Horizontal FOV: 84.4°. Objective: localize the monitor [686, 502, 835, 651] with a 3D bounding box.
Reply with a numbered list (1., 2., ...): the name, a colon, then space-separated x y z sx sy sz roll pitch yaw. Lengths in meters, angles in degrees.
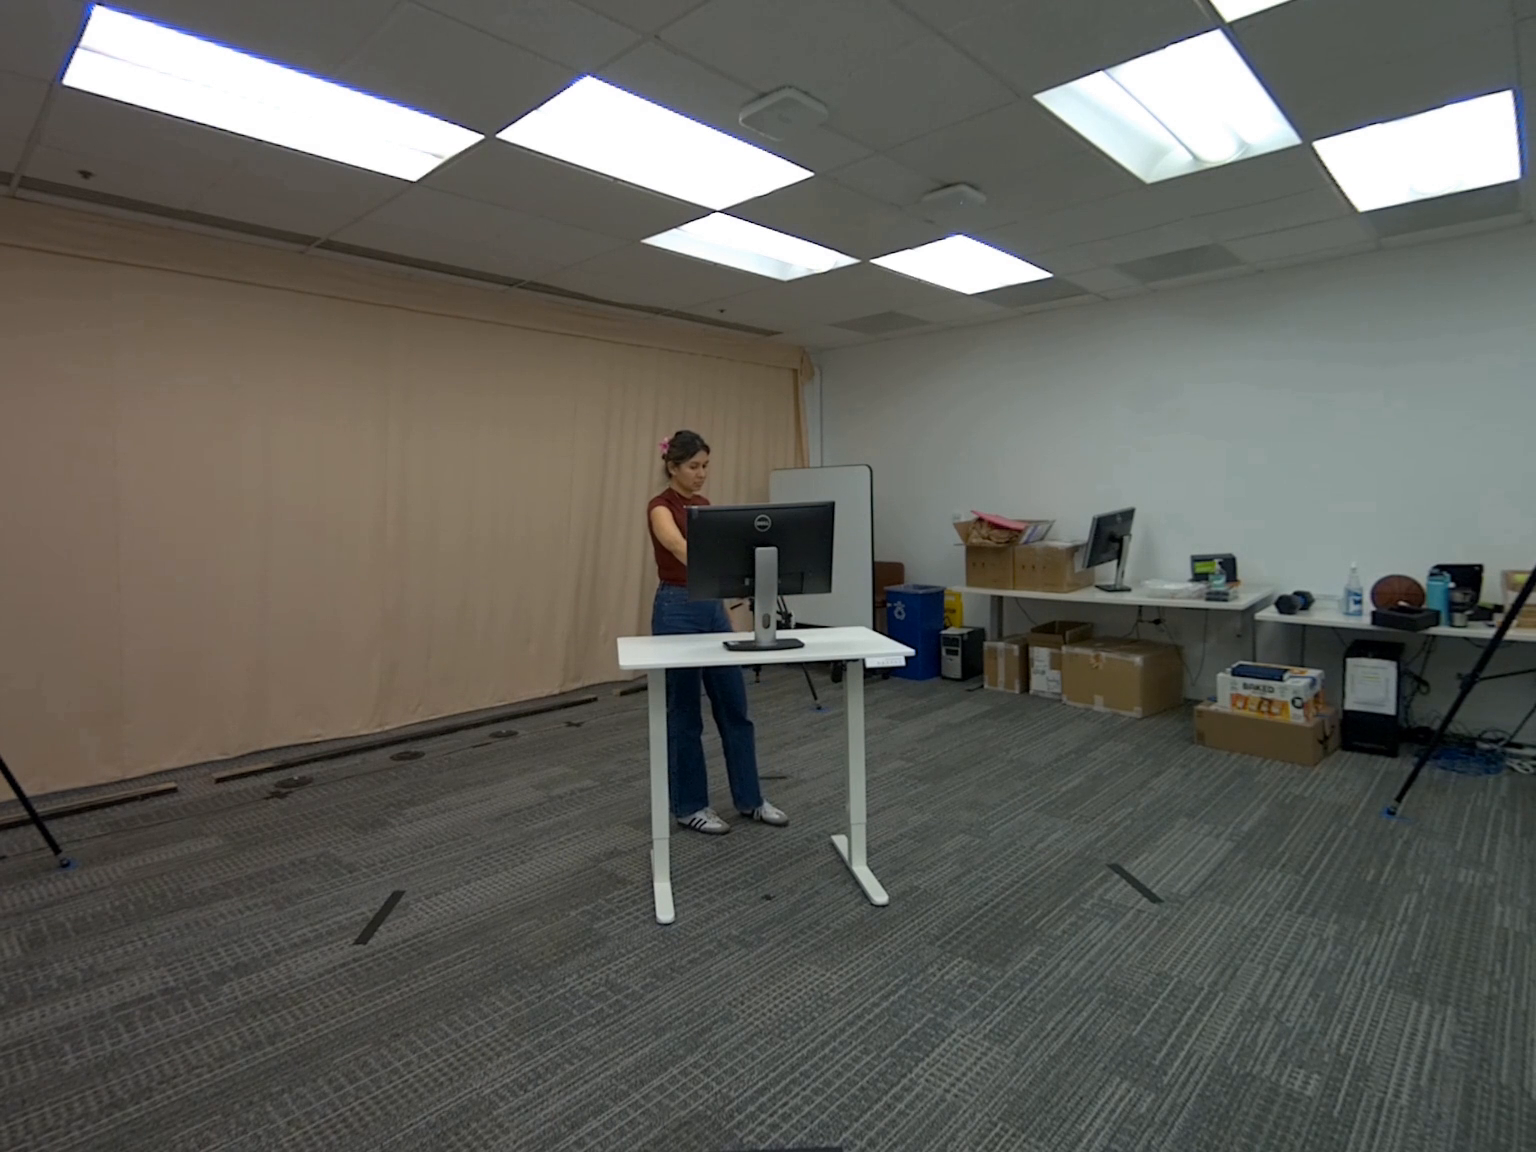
1. monitor: -0.013 0.001 3.001 0.534 0.521 0.189 -1 4 -8
